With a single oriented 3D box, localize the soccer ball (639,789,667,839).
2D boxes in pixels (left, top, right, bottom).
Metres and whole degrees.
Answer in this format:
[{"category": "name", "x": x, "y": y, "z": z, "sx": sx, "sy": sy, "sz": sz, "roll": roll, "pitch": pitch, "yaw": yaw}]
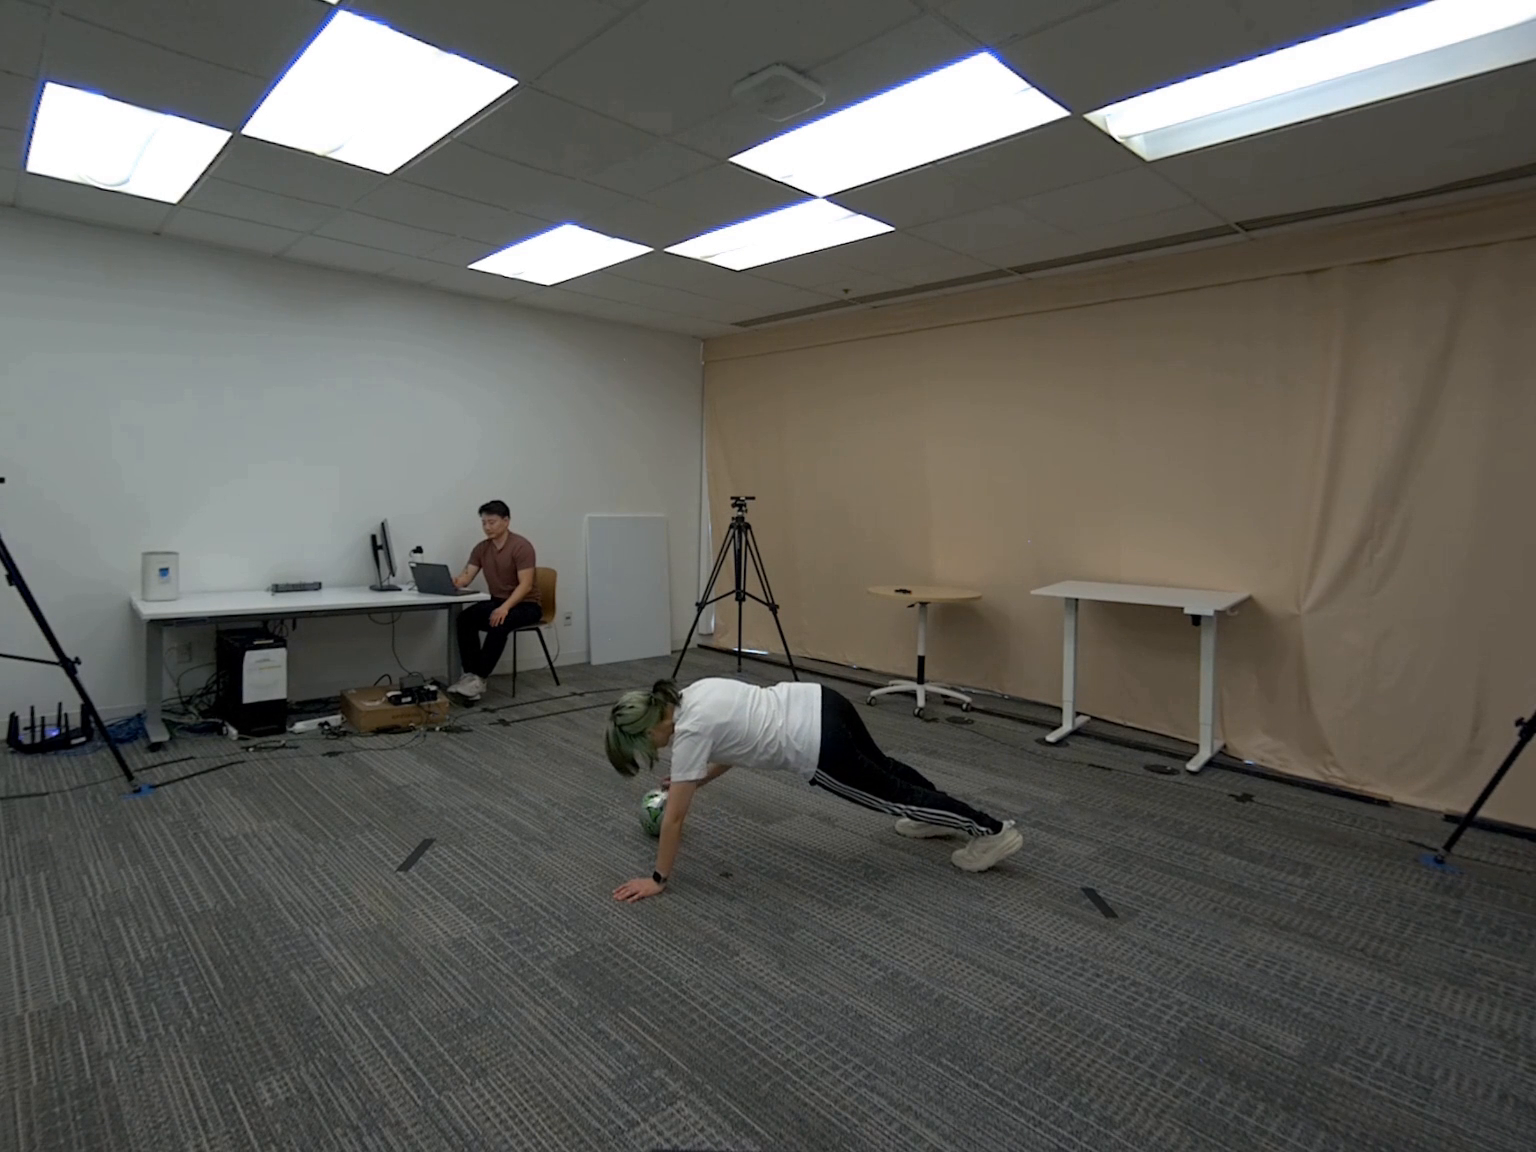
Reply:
[{"category": "soccer ball", "x": -0.446, "y": 0.966, "z": 3.474, "sx": 0.187, "sy": 0.187, "sz": 0.188, "roll": 1, "pitch": 4, "yaw": -1}]
